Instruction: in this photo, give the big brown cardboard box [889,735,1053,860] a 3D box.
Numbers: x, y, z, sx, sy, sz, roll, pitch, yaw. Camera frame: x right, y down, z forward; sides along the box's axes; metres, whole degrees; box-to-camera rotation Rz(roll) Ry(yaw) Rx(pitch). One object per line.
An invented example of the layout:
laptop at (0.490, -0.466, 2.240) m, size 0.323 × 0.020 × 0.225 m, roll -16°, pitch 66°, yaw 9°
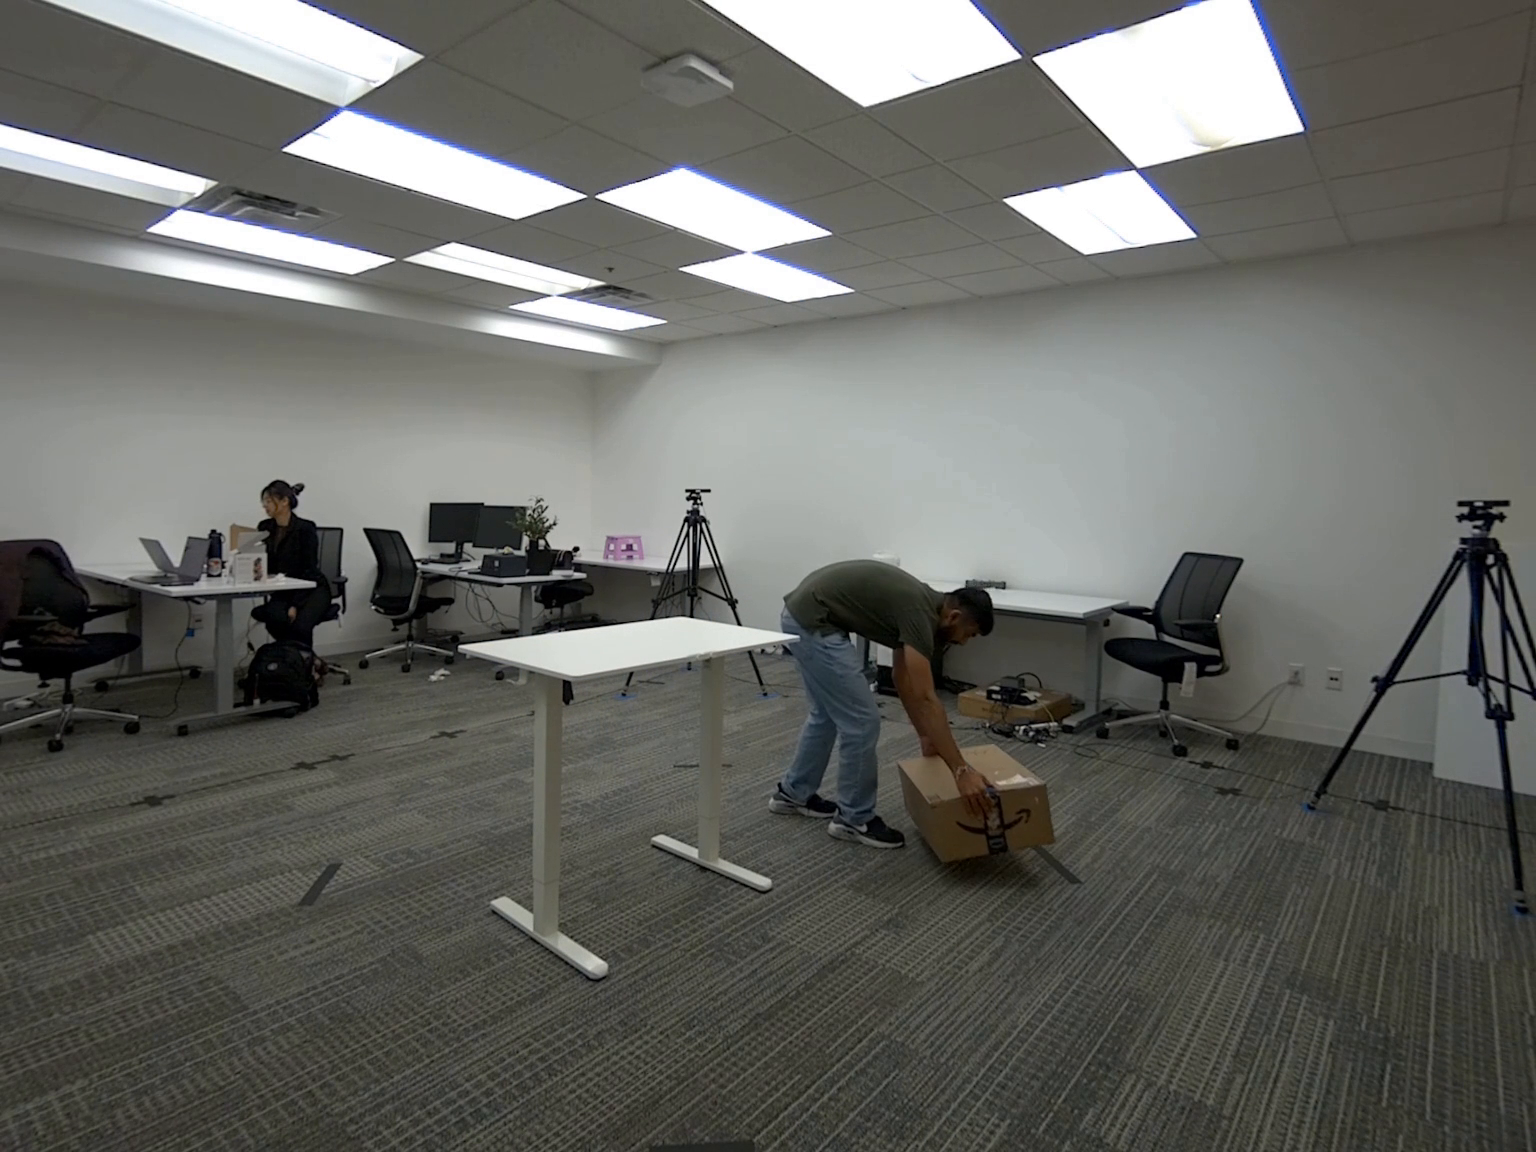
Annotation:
big brown cardboard box at (0.765, 0.844, 3.292) m, size 0.417 × 0.233 × 0.591 m, roll -10°, pitch 3°, yaw -3°
